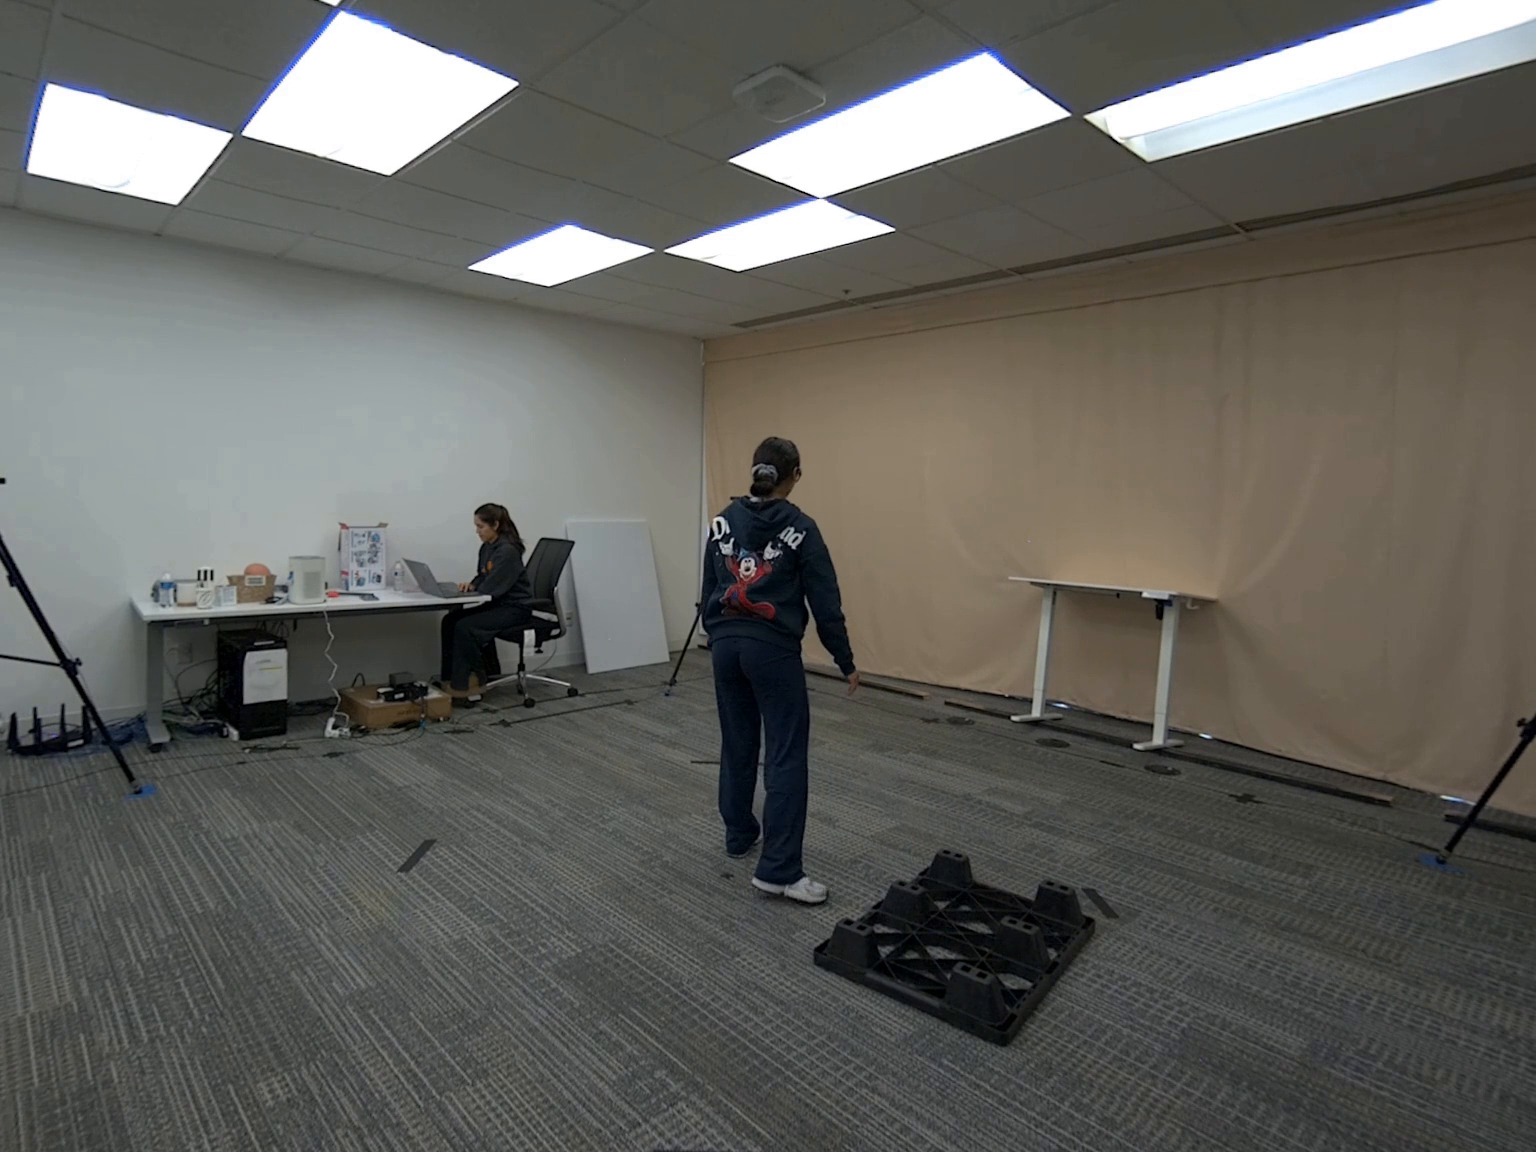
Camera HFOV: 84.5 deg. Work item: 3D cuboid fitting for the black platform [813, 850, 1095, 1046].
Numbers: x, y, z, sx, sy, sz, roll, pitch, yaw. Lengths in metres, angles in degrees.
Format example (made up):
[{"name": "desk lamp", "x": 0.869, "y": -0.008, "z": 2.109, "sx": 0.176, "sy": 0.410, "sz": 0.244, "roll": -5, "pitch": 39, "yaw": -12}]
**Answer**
[{"name": "black platform", "x": 0.601, "y": 1.102, "z": 2.657, "sx": 0.620, "sy": 0.143, "sz": 0.788, "roll": 6, "pitch": 7, "yaw": 37}]
